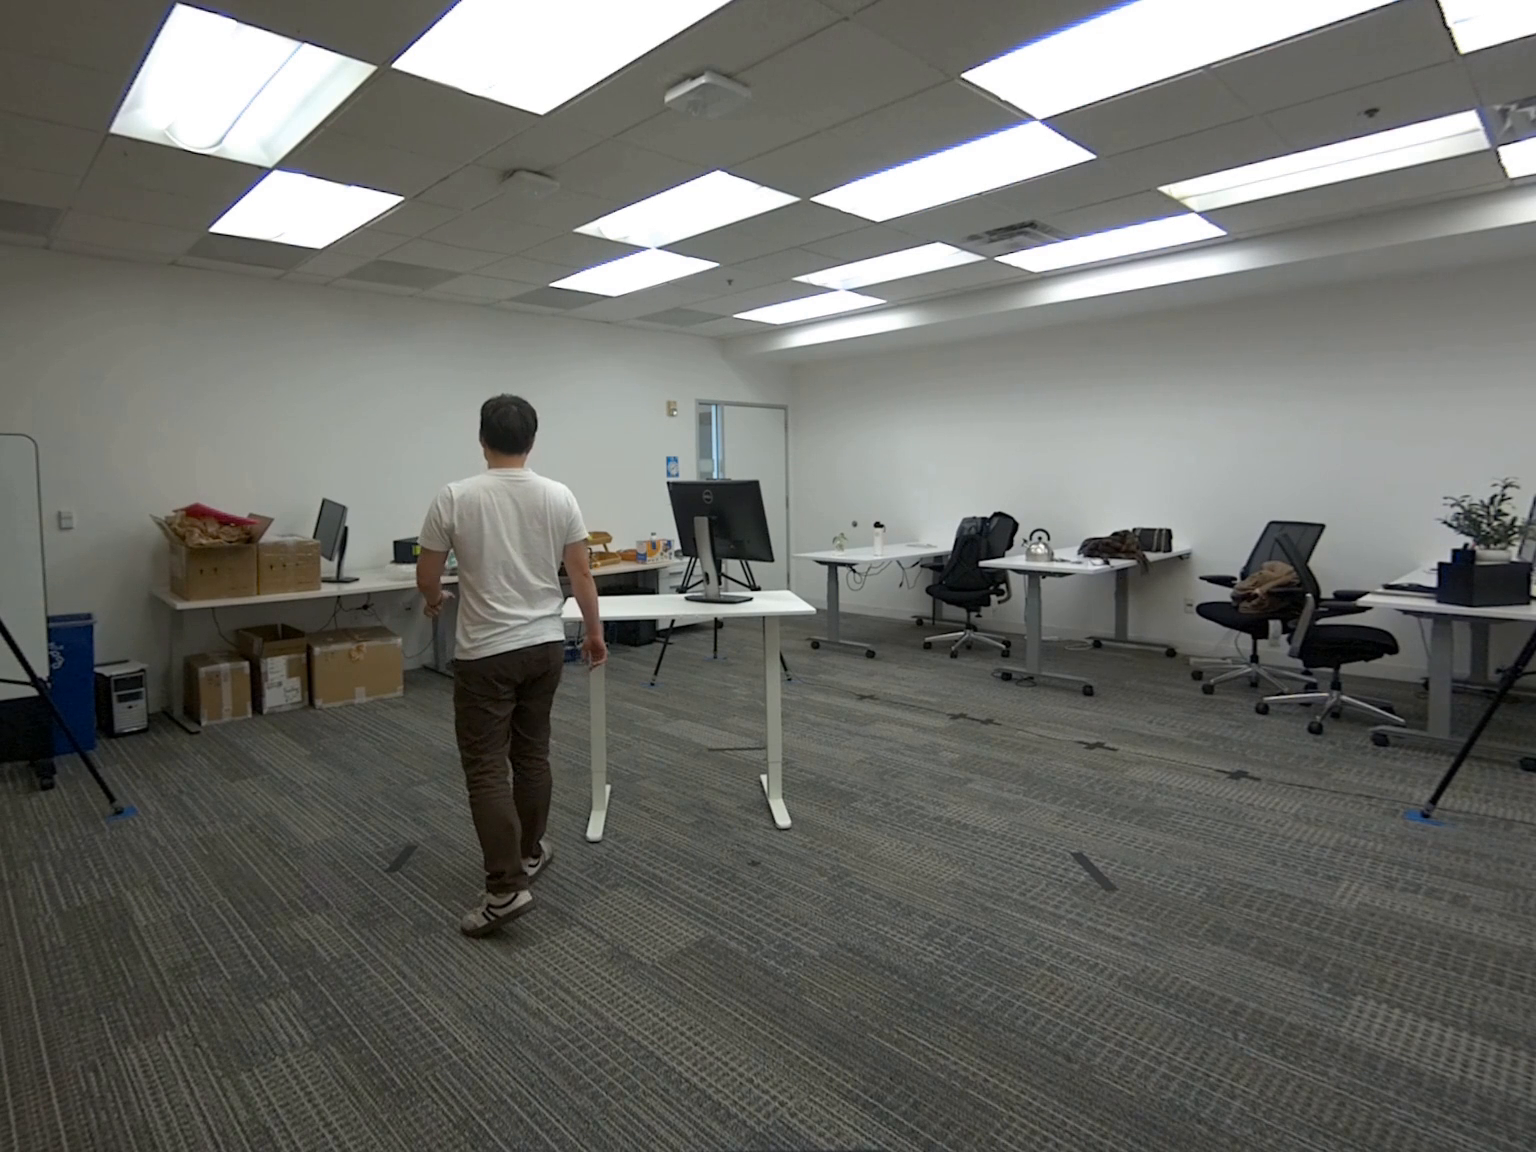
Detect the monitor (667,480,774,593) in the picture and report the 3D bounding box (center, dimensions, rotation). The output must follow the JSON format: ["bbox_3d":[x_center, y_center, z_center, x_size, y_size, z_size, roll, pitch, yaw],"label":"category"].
[{"bbox_3d":[-0.230,-0.146,3.648,0.555,0.520,0.182,3,8,40],"label":"monitor"}]
